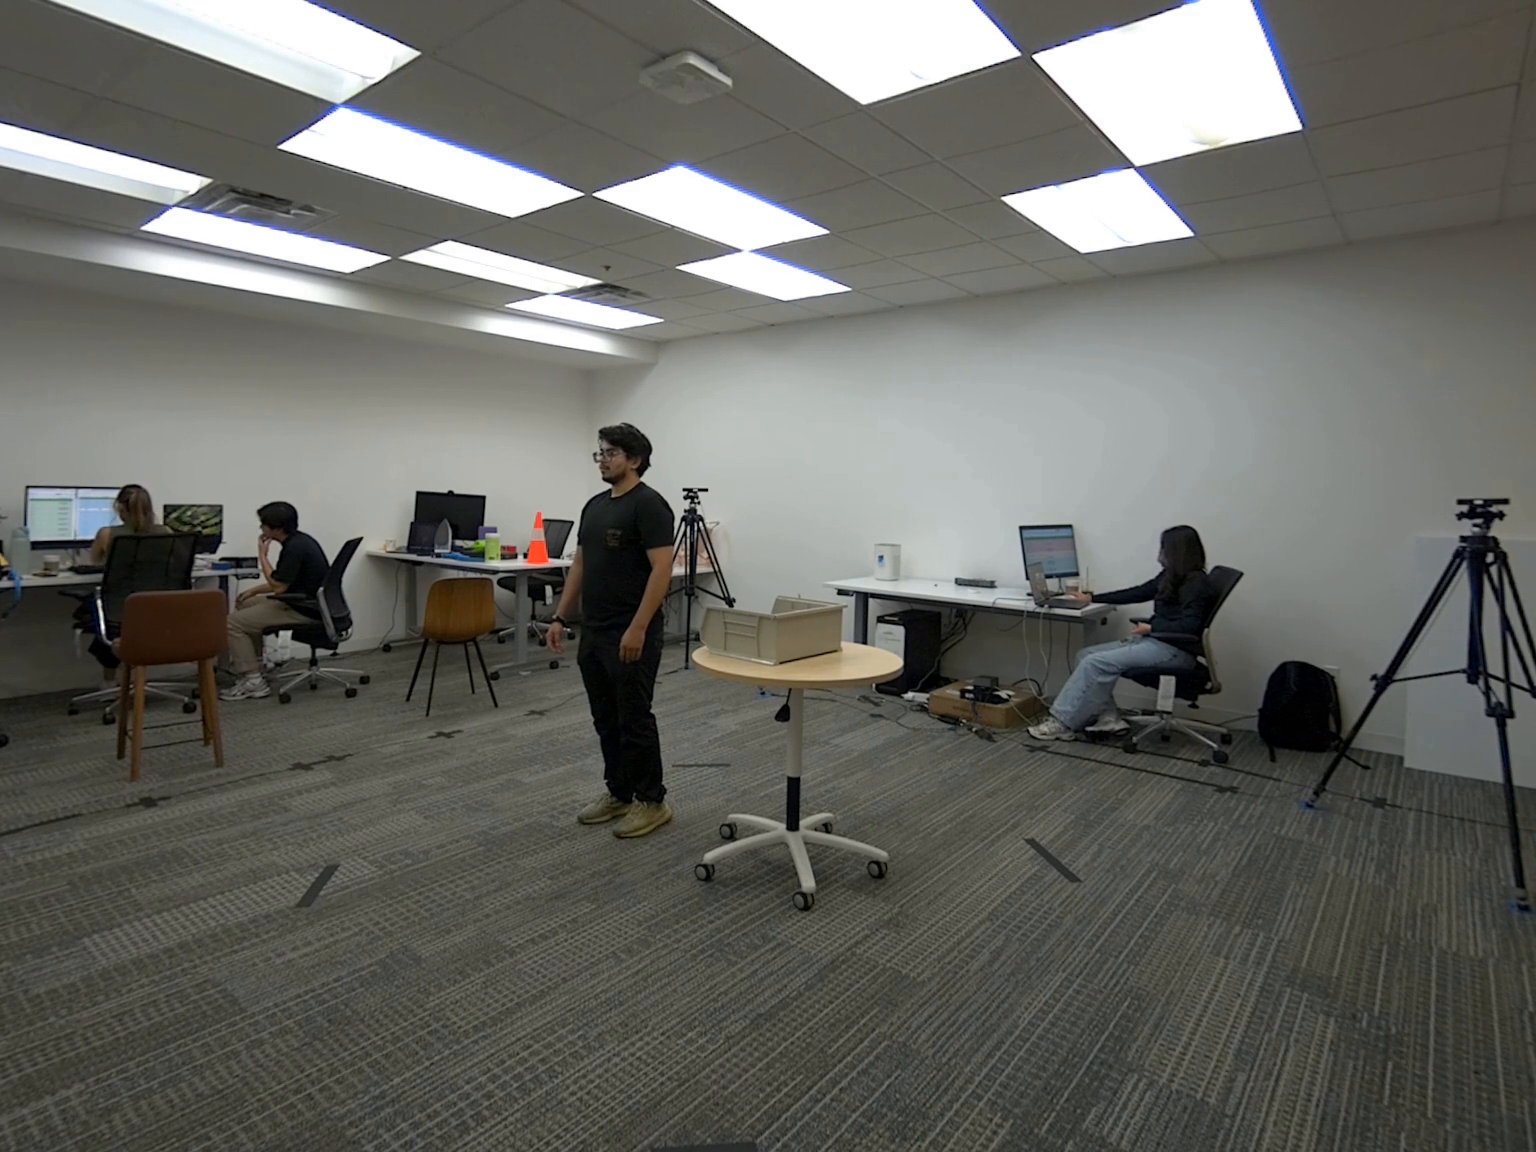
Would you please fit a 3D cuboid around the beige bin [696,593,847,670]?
[{"bbox_3d":[0.013,0.196,3.200,0.391,0.188,0.409,7,8,42],"label":"beige bin"}]
